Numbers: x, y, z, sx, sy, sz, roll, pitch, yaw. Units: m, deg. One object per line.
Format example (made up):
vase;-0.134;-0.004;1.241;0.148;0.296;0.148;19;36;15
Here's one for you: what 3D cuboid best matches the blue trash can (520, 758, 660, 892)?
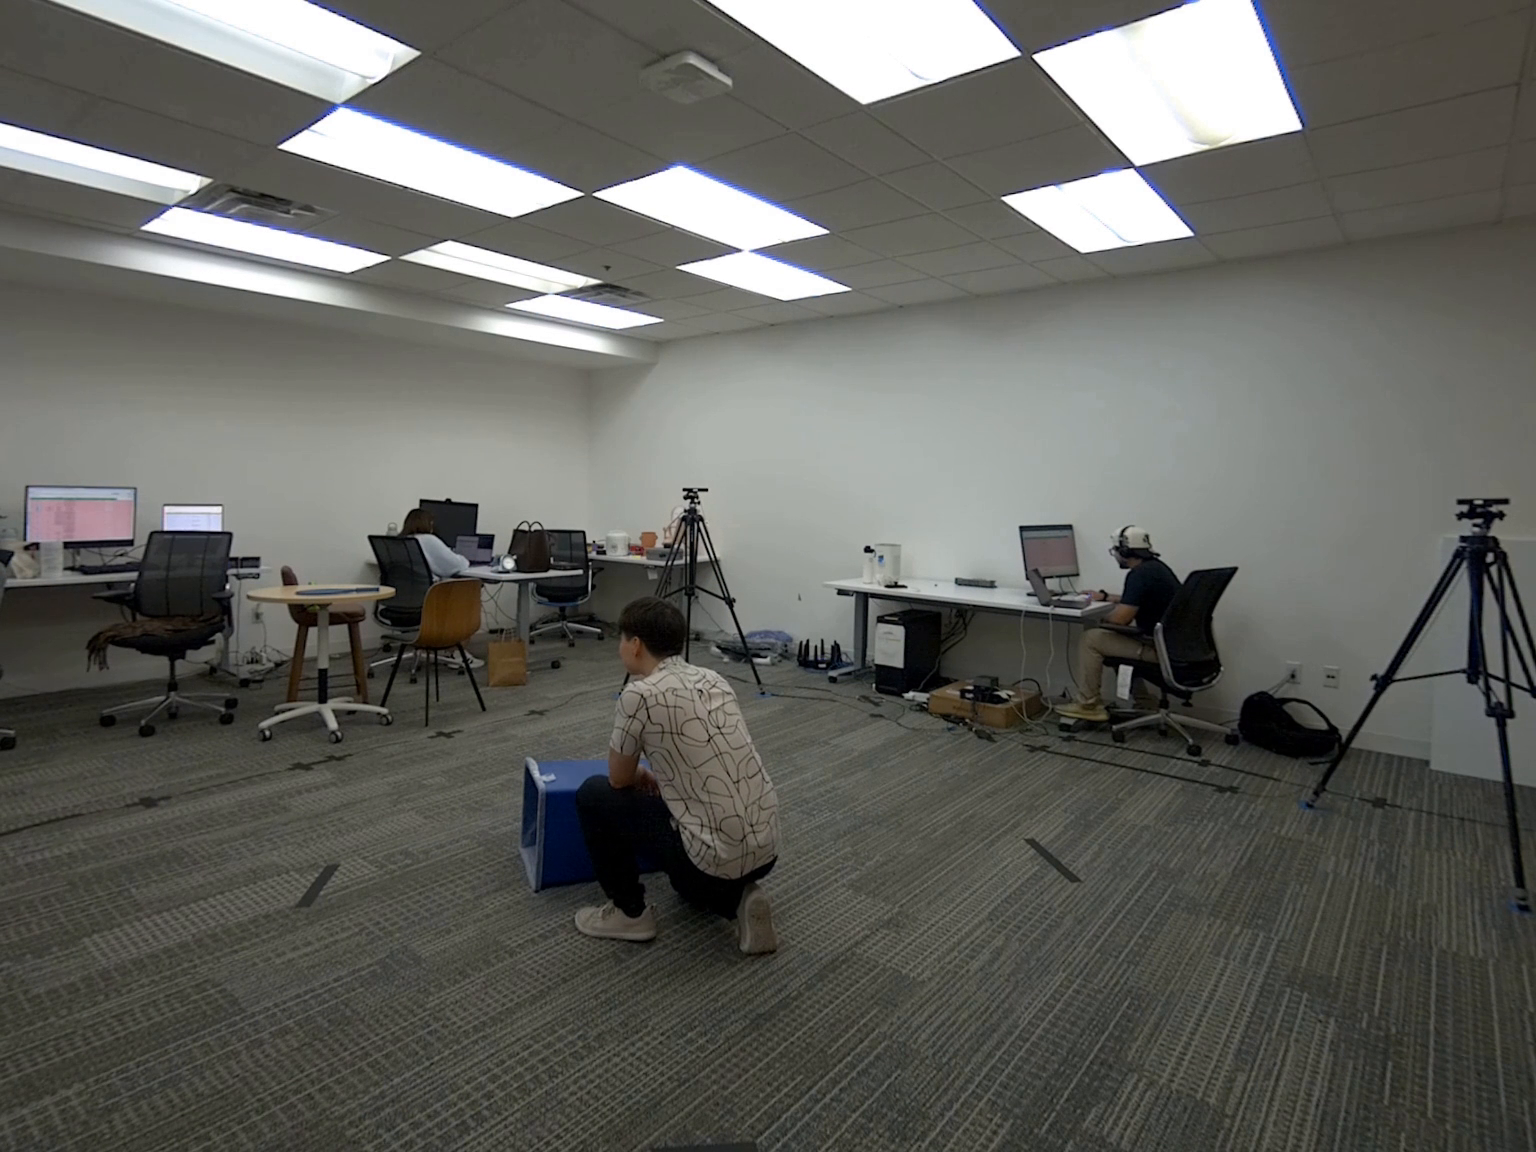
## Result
blue trash can;-0.544;0.888;3.175;0.698;0.373;0.388;3;4;-22
